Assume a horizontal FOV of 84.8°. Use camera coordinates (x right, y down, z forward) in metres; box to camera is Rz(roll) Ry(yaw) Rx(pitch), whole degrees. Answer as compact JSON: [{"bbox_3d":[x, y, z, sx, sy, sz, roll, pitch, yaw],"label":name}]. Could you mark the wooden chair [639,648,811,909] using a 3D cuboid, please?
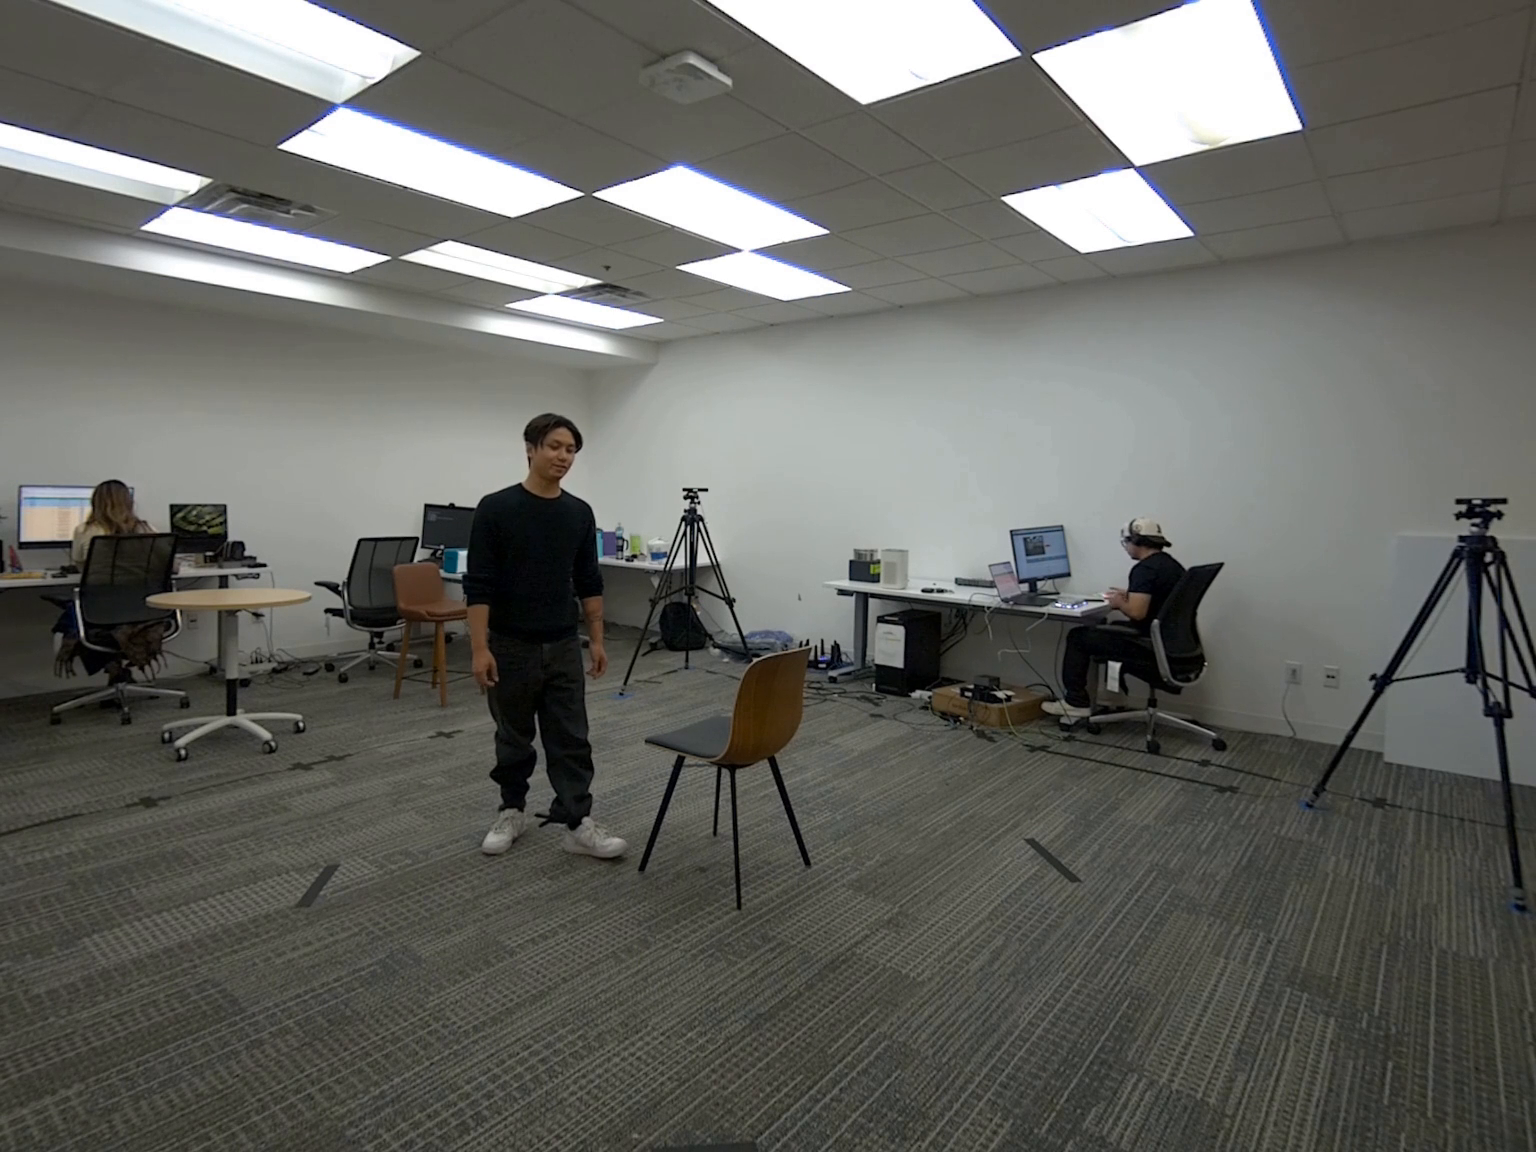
[{"bbox_3d":[-0.159,0.645,3.097,0.541,0.873,0.464,9,7,36],"label":"wooden chair"}]
